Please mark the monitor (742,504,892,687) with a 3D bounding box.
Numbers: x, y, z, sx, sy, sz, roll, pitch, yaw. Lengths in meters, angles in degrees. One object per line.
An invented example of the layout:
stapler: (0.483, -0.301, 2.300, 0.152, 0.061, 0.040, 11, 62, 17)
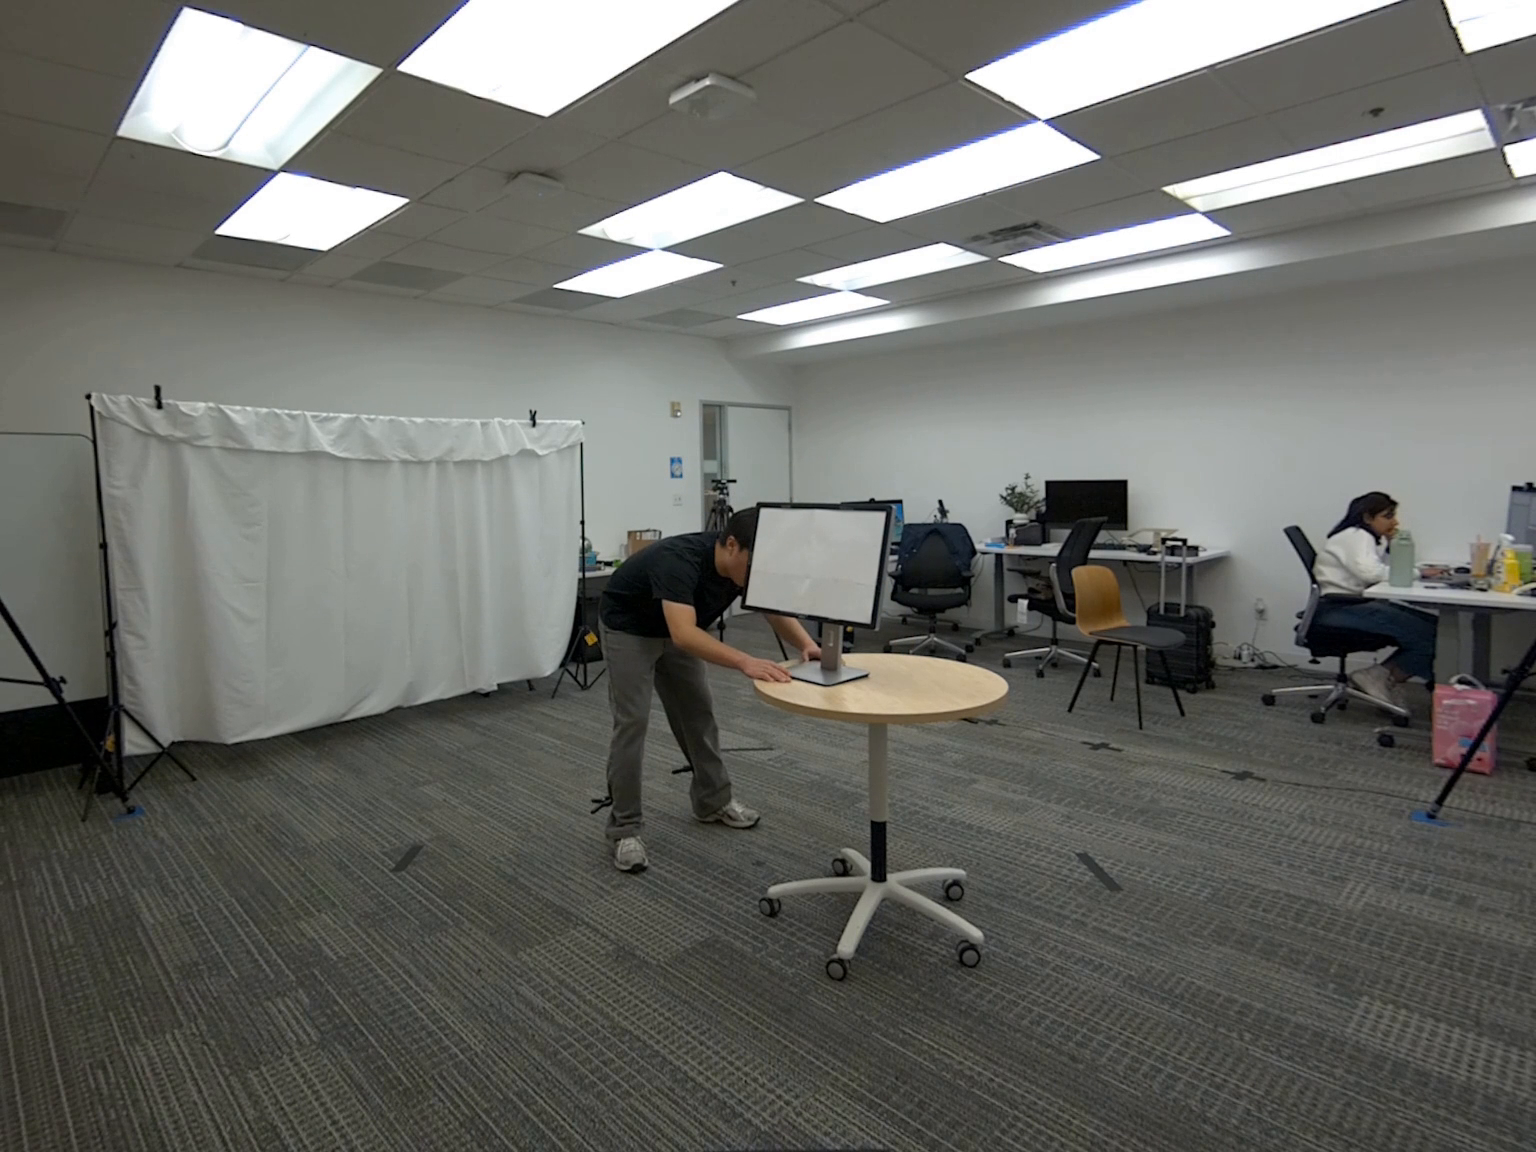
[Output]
monitor: (0.186, 0.045, 2.696, 0.204, 0.554, 0.583, 5, 0, -44)
